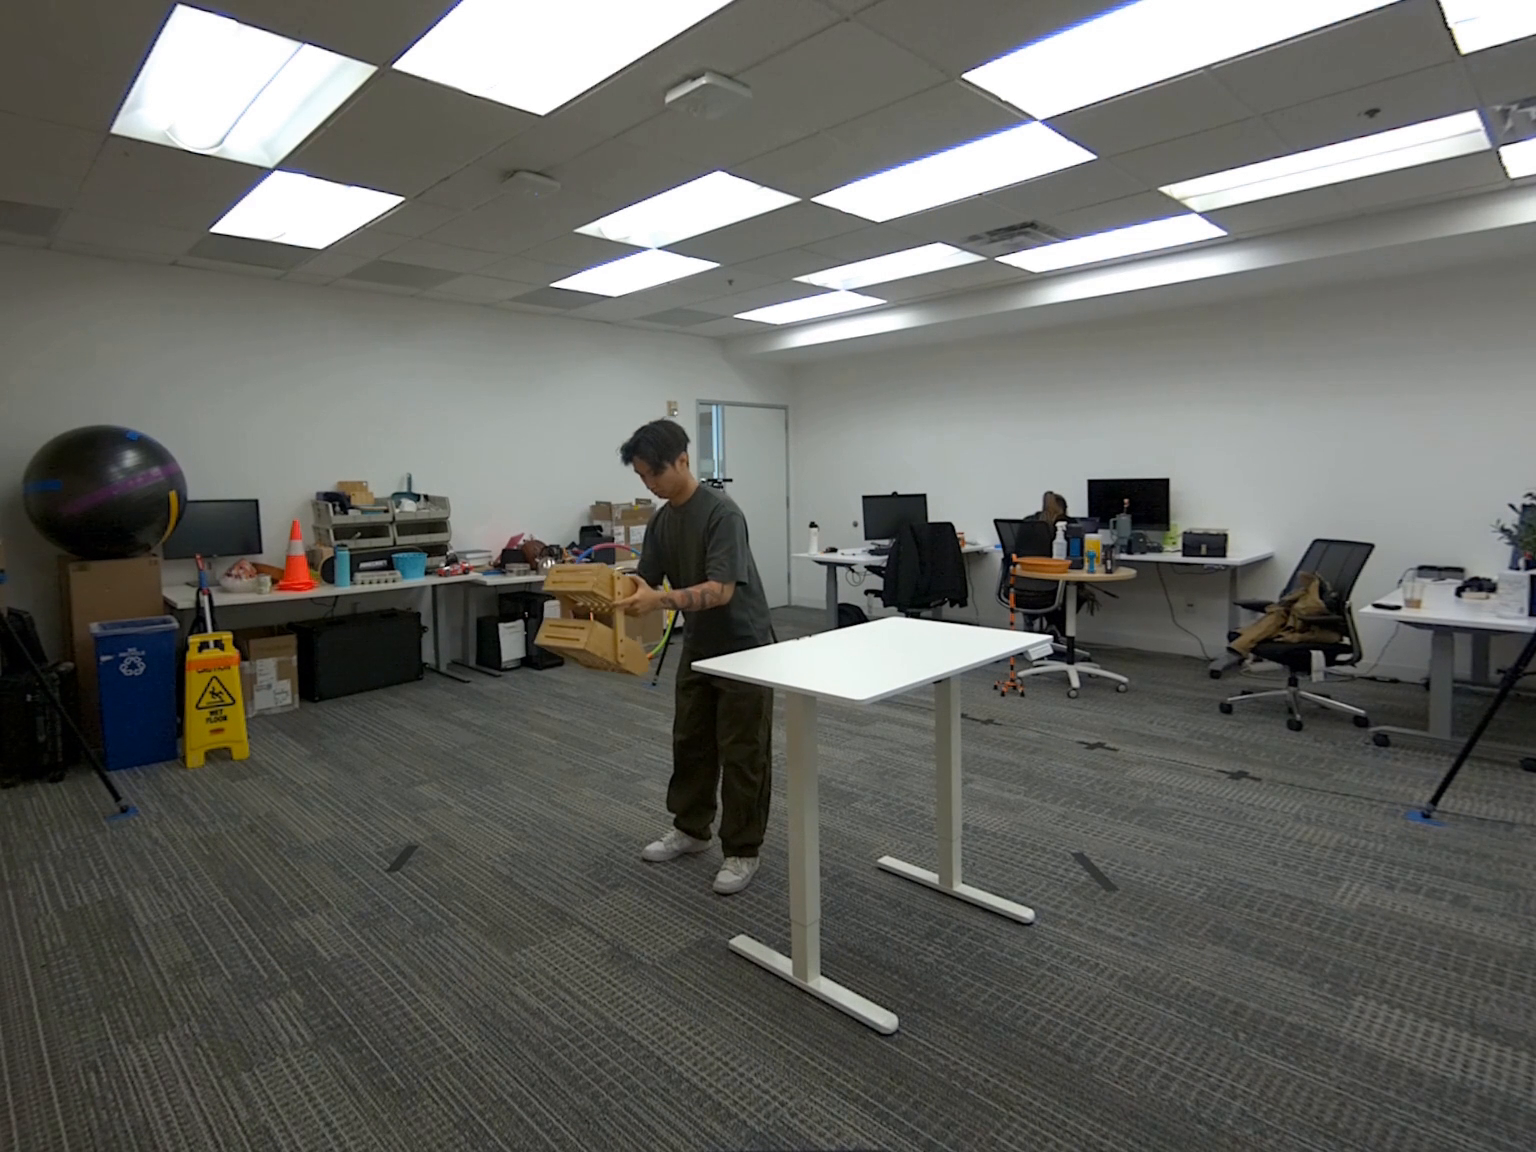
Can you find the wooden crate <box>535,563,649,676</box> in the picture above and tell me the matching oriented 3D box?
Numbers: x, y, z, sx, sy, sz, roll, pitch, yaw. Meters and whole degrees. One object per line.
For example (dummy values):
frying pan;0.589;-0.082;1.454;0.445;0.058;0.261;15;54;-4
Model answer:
wooden crate;-0.544;0.137;2.747;0.333;0.276;0.291;-1;-25;46
